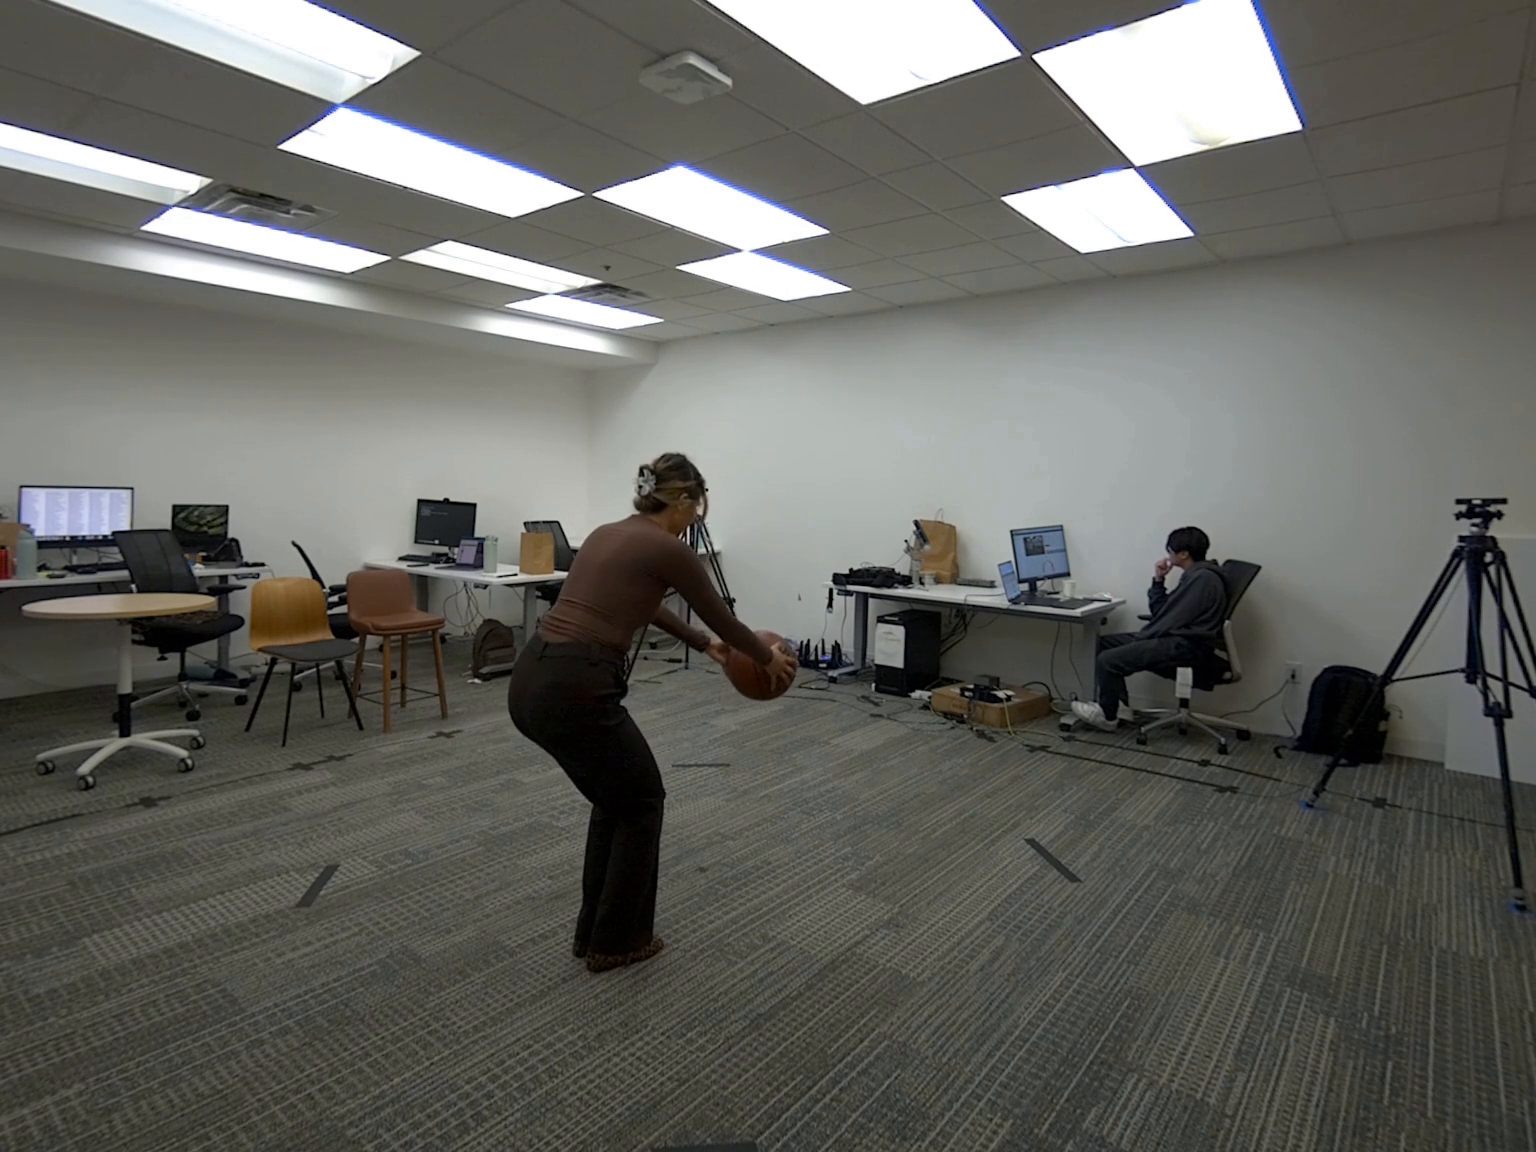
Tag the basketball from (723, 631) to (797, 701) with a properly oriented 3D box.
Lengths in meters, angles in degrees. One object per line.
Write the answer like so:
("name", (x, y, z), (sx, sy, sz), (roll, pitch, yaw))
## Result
("basketball", (-0.028, 0.303, 2.903), (0.235, 0.235, 0.237), (1, 4, -2))
